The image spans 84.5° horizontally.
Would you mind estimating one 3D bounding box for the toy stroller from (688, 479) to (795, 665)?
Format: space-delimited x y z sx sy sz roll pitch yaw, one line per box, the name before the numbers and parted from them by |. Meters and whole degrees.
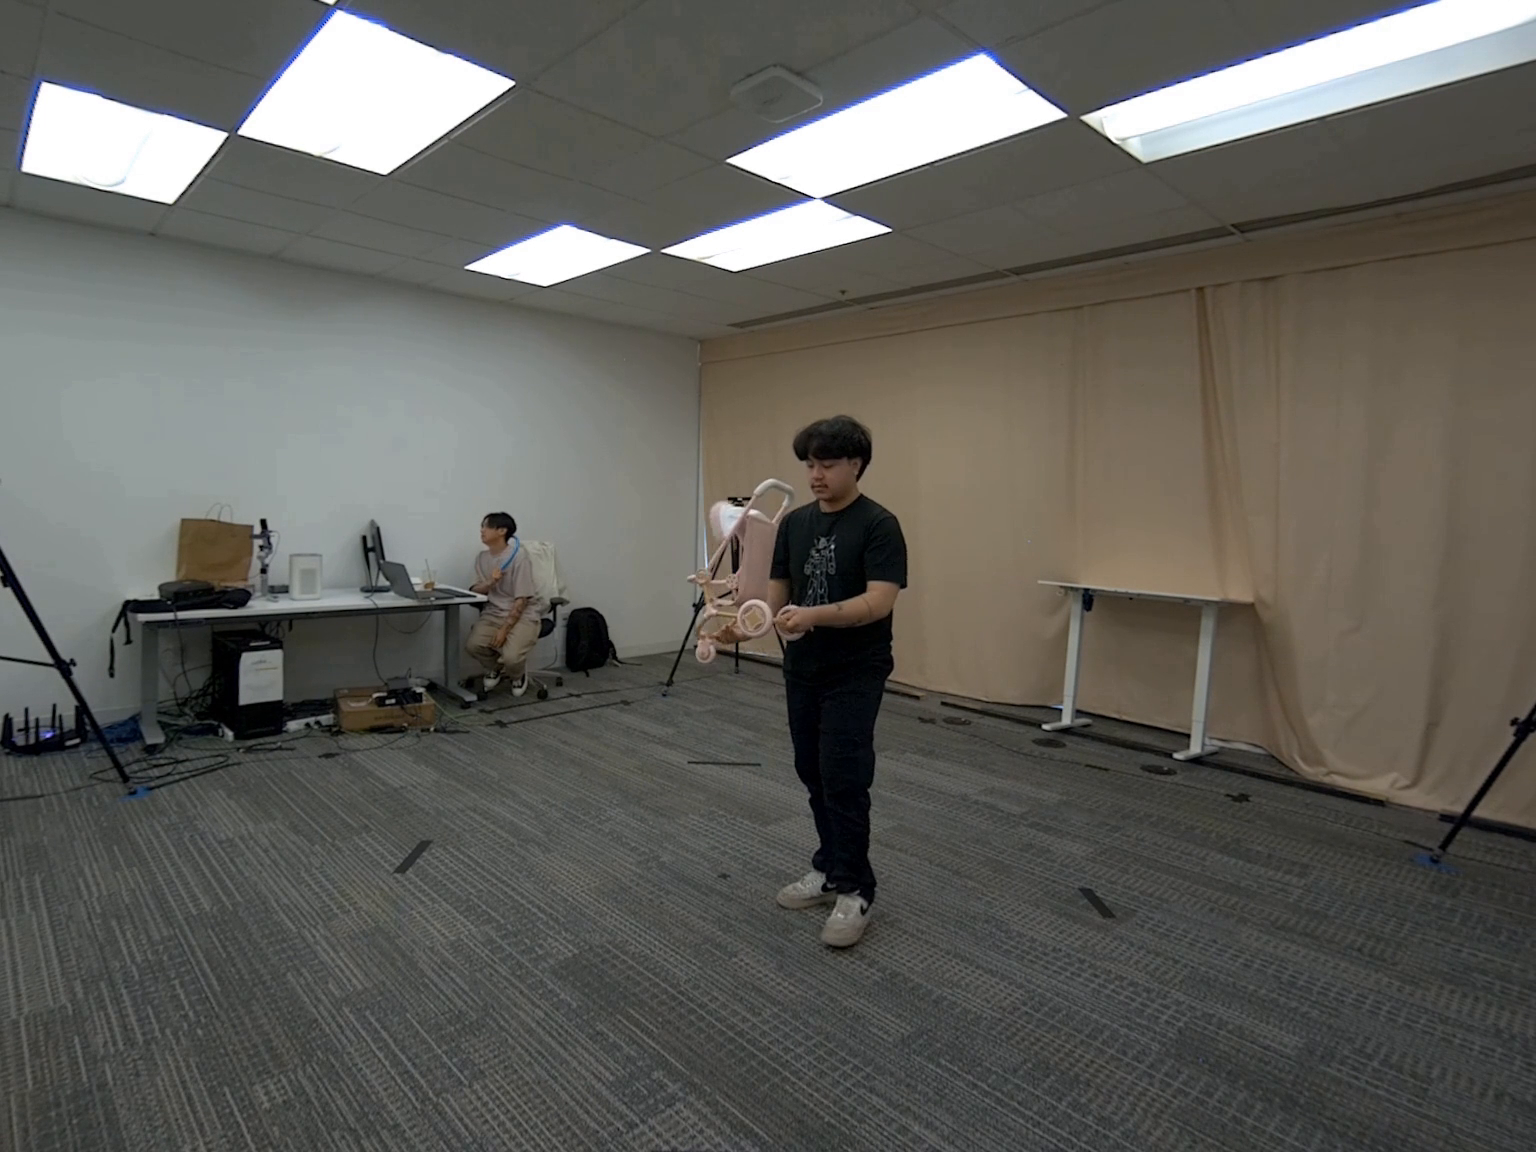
toy stroller | -0.086 -0.001 2.590 0.347 0.539 0.274 -8 -10 31
